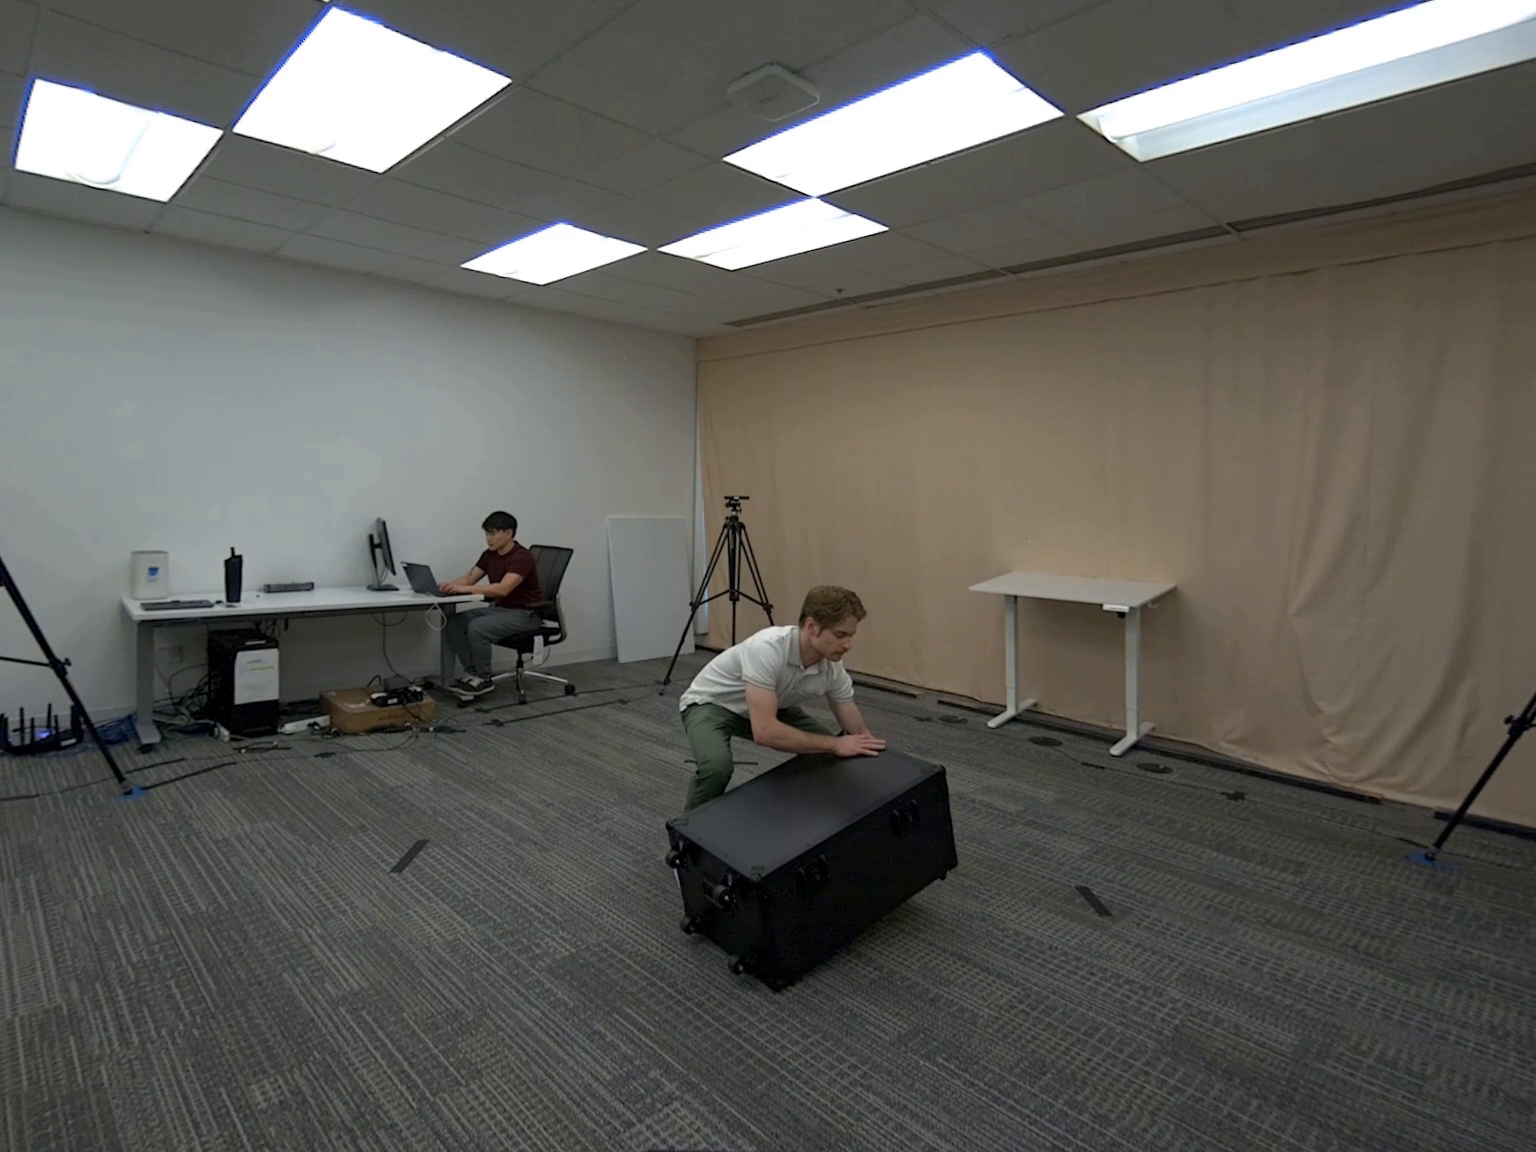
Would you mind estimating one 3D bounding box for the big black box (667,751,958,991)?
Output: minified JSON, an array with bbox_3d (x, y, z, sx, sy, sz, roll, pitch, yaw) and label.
[{"bbox_3d":[0.120,0.889,2.707,0.856,0.381,0.537,-18,16,-32],"label":"big black box"}]
